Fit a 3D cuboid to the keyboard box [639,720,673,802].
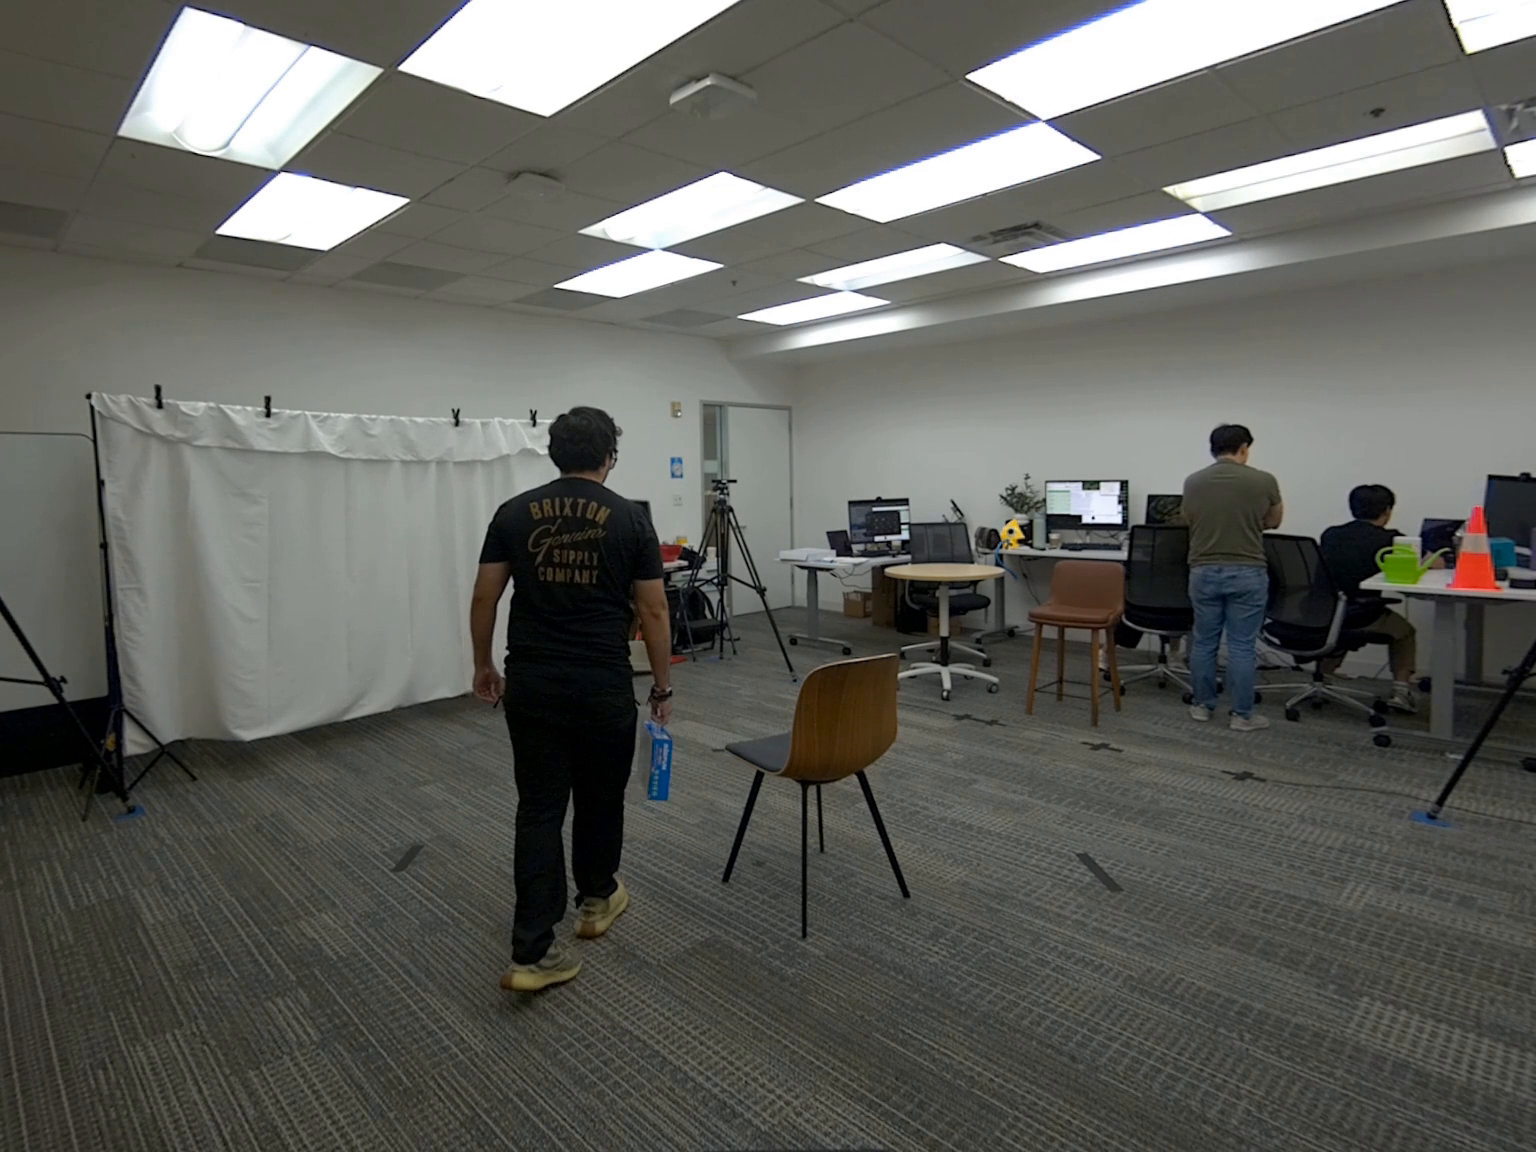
[{"bbox_3d":[-0.350,0.554,2.639,0.058,0.176,0.440,6,-3,-12],"label":"keyboard box"}]
